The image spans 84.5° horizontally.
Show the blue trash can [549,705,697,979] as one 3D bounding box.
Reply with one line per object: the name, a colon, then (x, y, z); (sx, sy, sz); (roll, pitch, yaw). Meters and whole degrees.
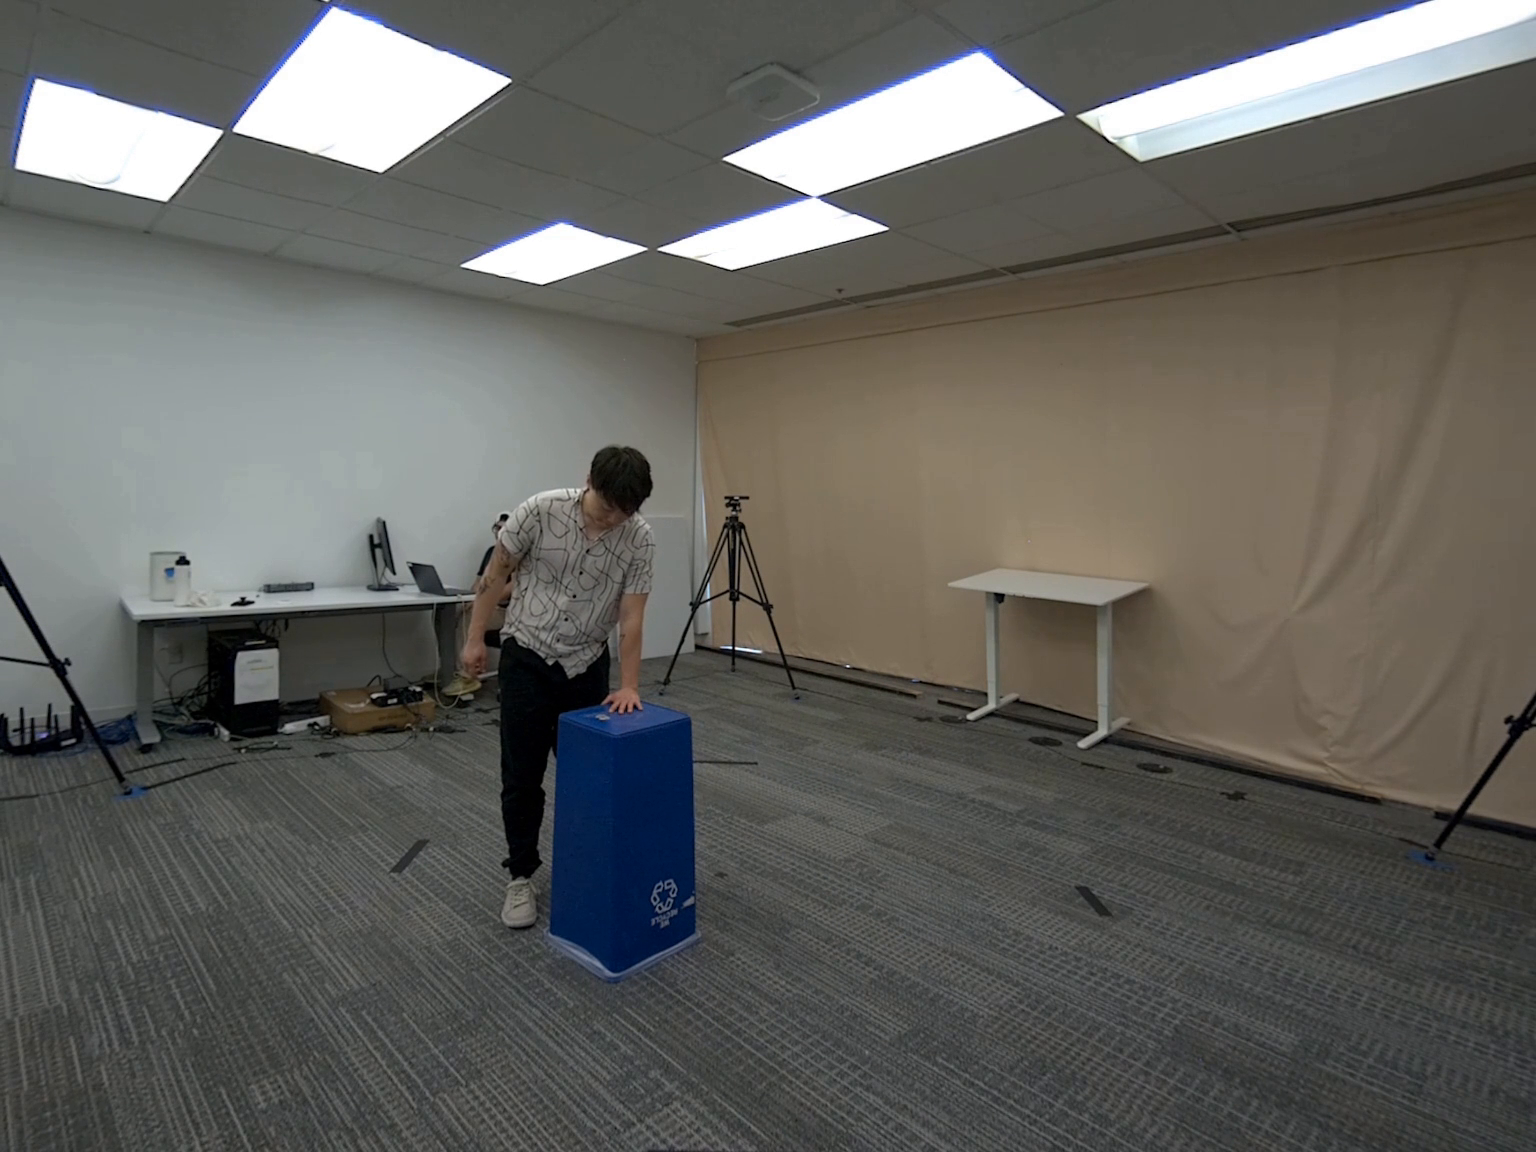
blue trash can: (-0.465, 0.788, 2.619); (0.387, 0.712, 0.366); (4, 5, 44)
